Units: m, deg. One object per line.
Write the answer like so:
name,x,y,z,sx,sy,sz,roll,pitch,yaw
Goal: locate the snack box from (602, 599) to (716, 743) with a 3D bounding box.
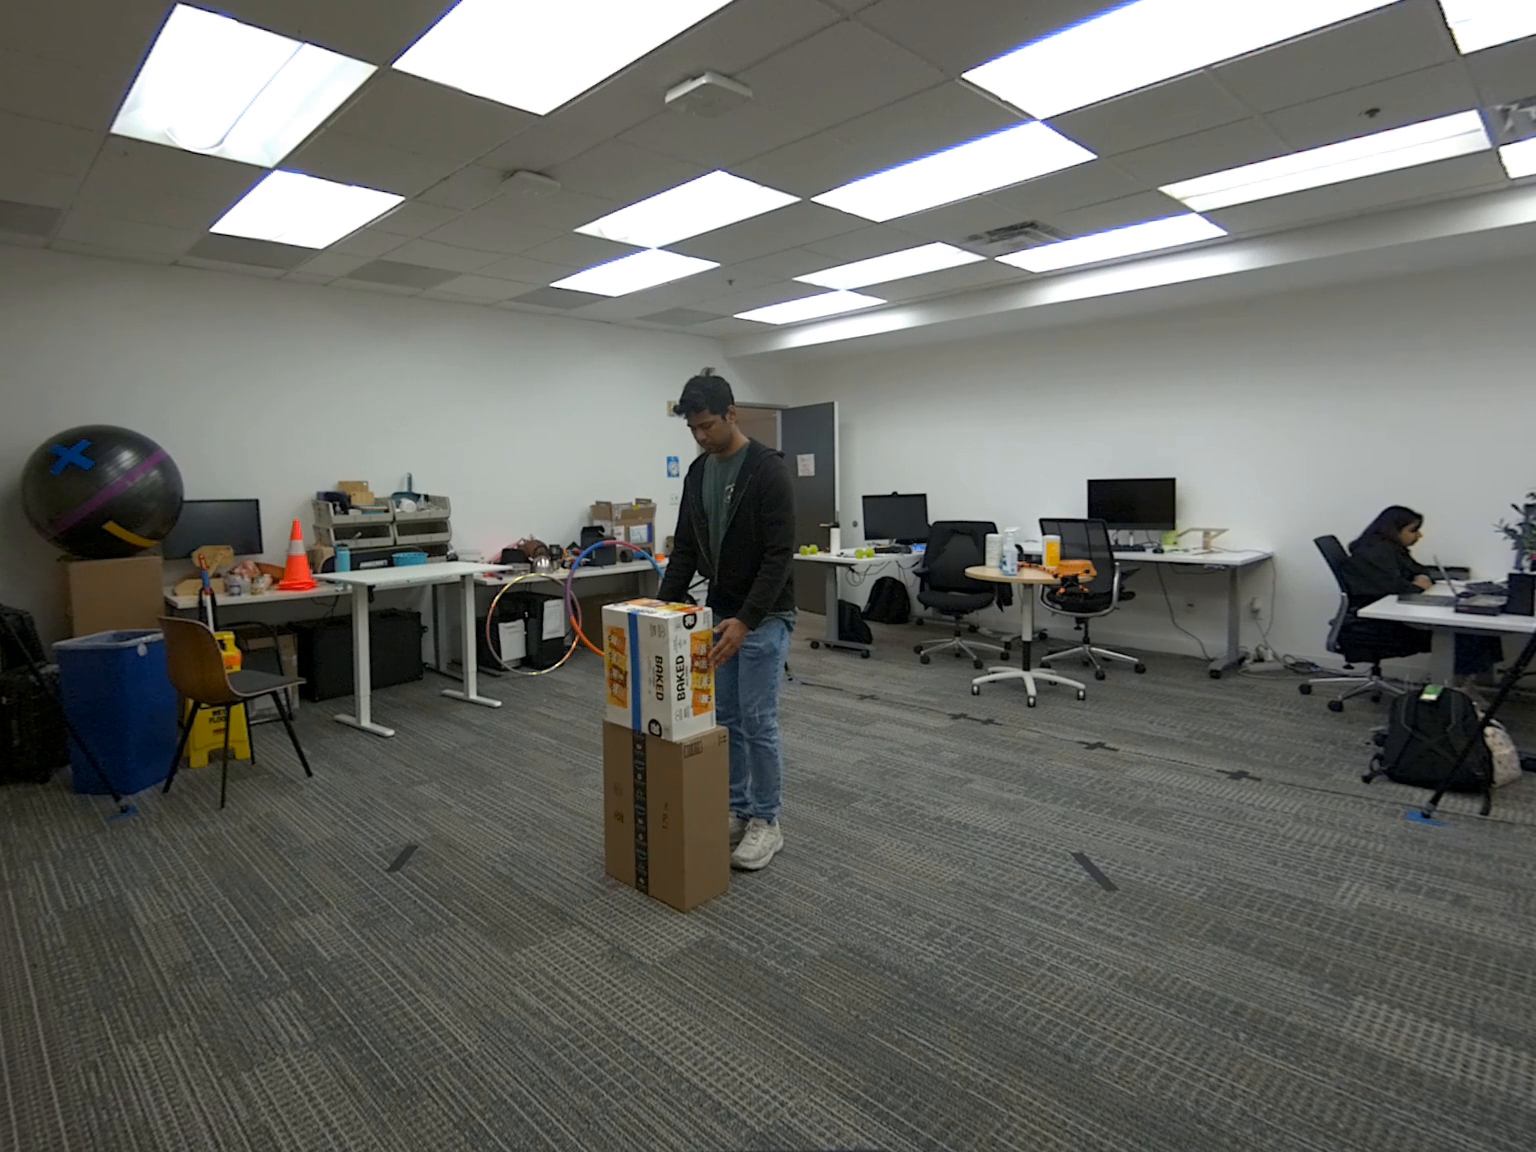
snack box,-0.370,0.306,2.898,0.351,0.403,0.200,4,8,44
